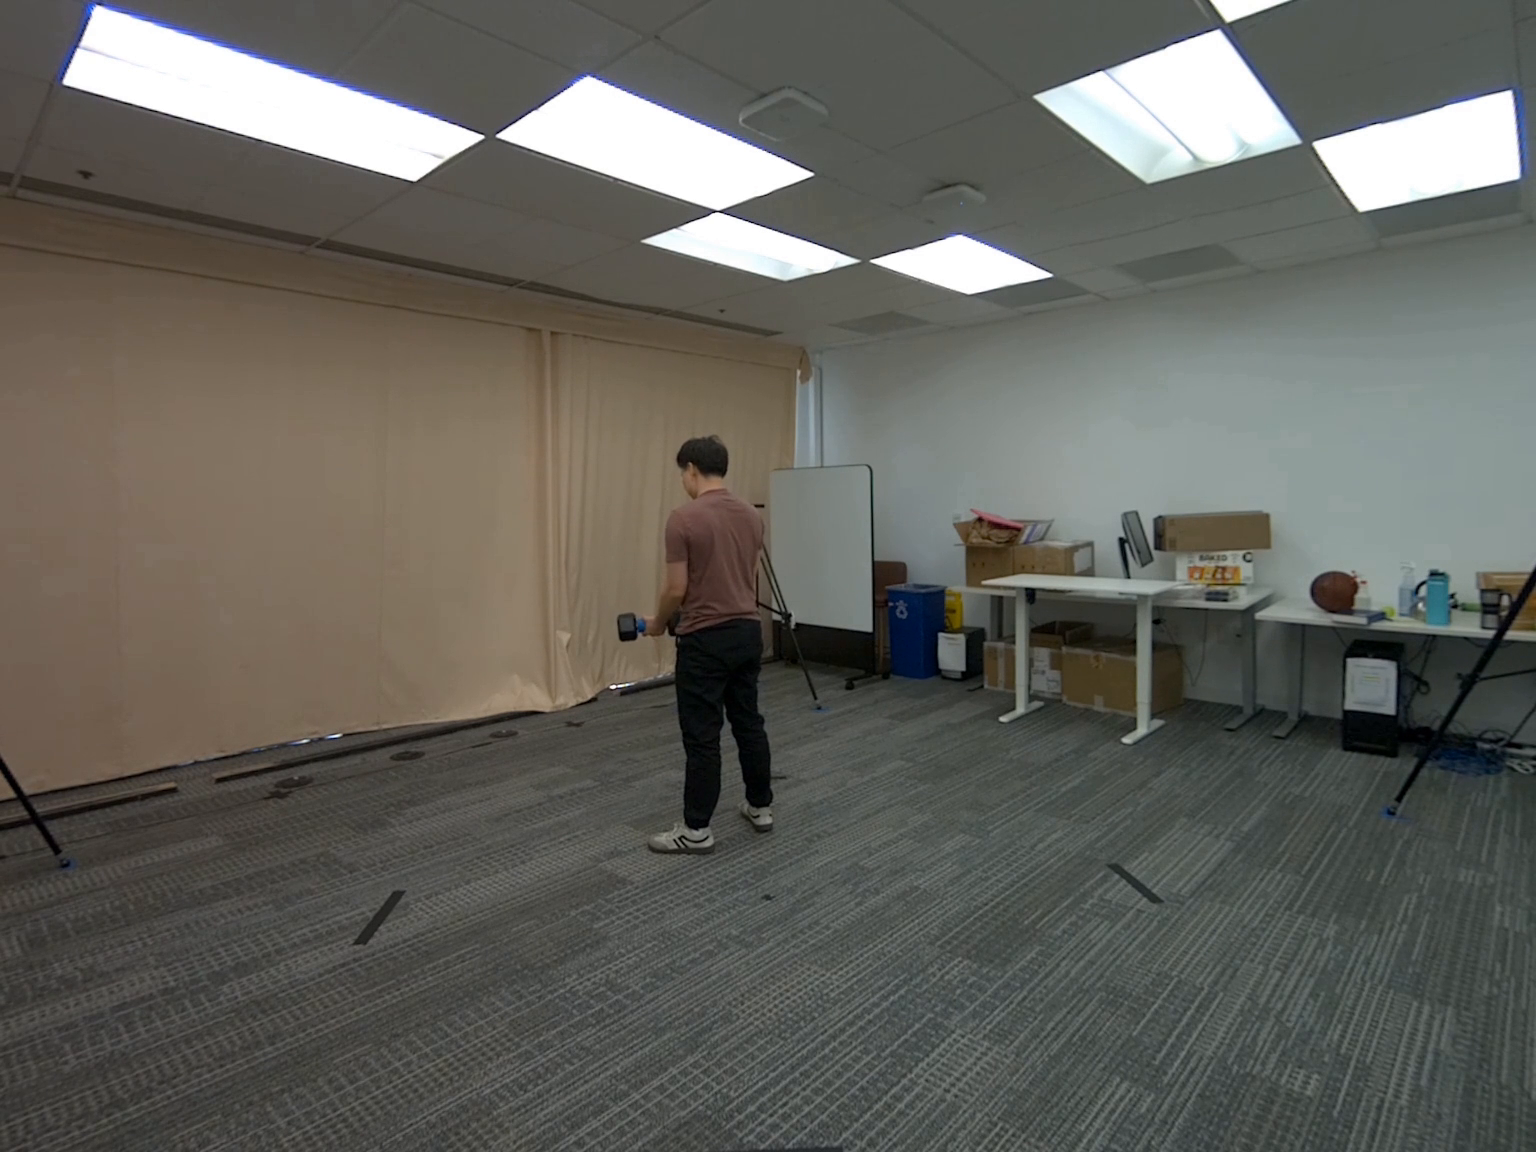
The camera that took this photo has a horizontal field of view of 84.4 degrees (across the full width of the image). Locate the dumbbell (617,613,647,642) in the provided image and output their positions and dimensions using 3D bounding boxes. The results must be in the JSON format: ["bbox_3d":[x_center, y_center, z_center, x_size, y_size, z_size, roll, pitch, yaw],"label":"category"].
[{"bbox_3d":[-0.500,0.197,3.636,0.292,0.120,0.111,-5,41,-5],"label":"dumbbell"}]
